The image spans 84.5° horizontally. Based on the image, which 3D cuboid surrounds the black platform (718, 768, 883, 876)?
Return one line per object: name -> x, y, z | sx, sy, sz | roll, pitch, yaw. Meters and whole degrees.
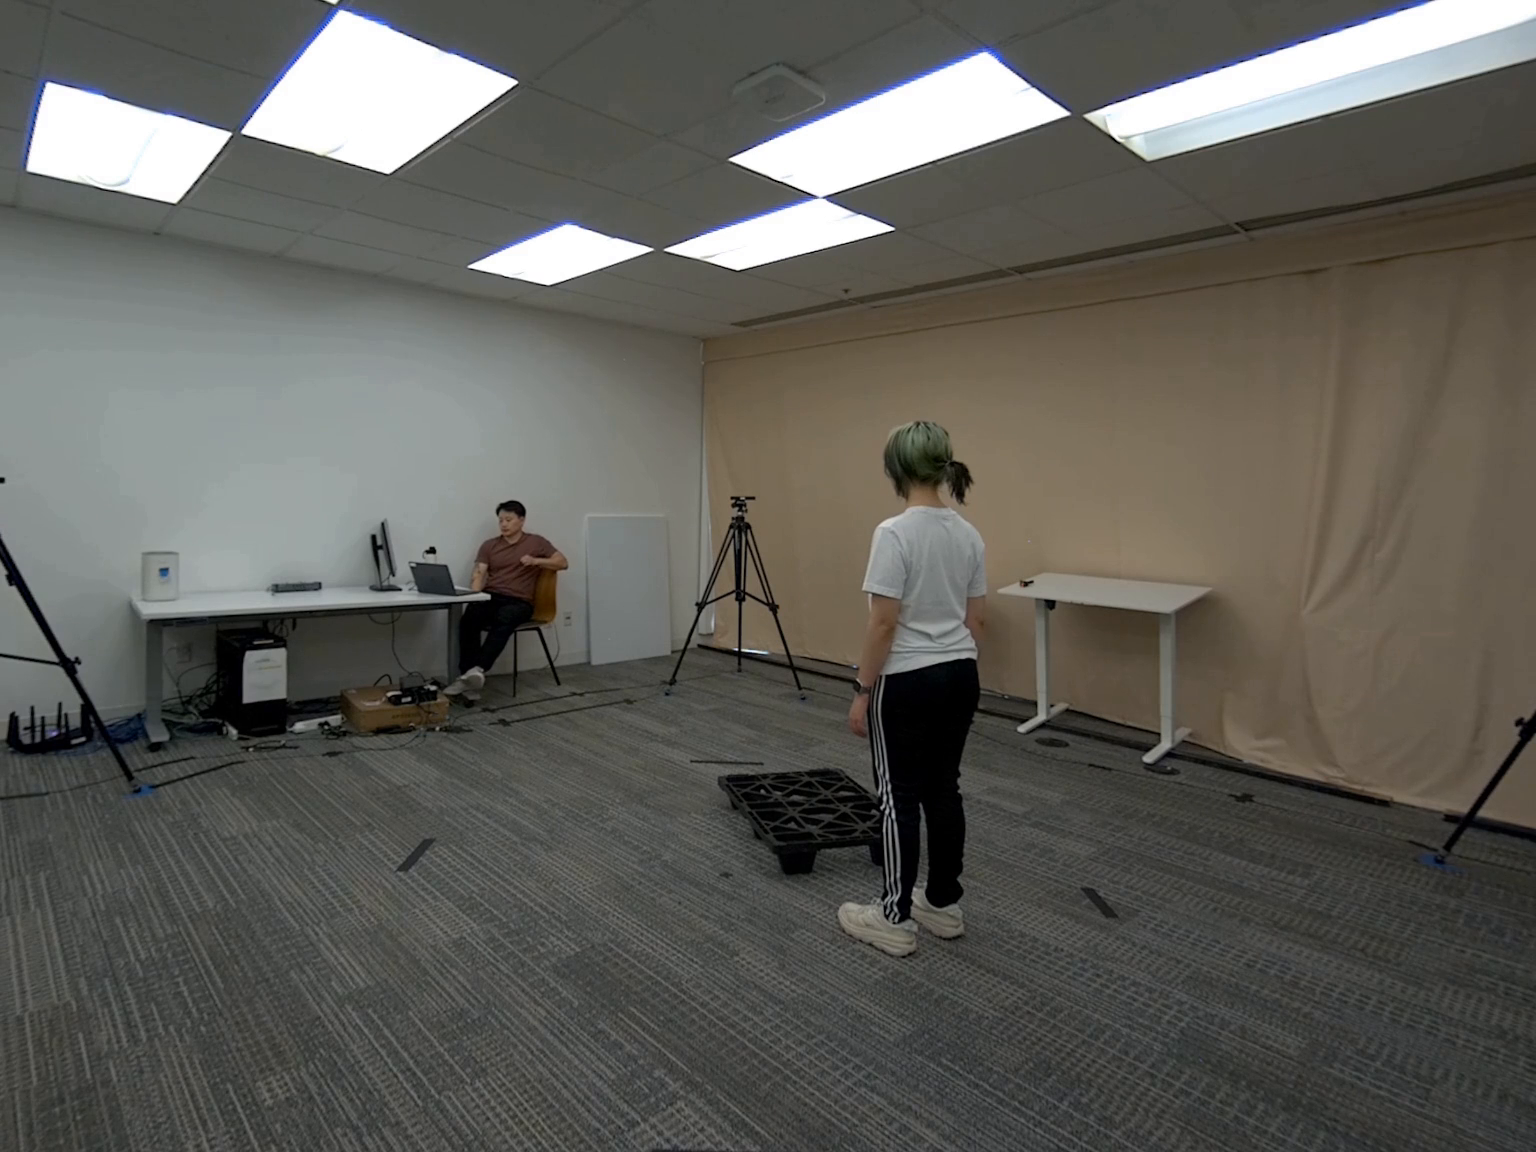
black platform -> 0.169, 1.008, 3.522 | 0.597, 0.143, 0.818 | 1, 5, -17
